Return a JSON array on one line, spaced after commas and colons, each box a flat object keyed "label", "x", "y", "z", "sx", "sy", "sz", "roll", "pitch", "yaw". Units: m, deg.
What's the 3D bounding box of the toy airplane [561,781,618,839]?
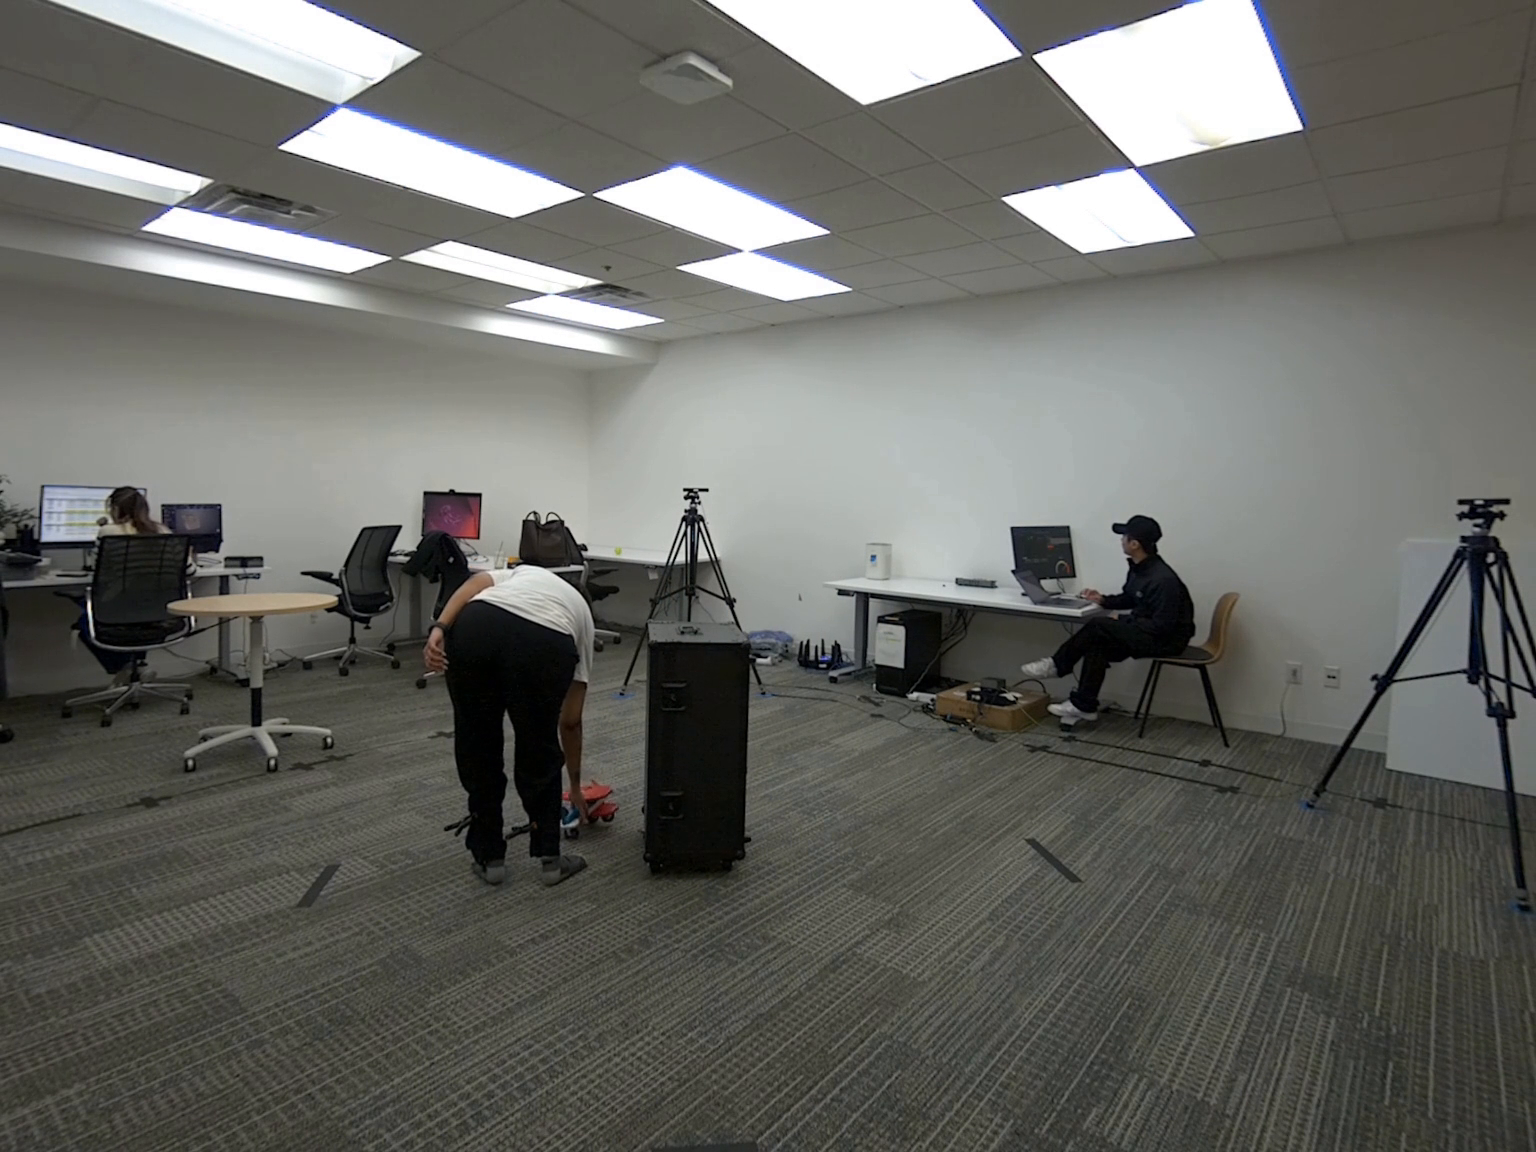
[{"label": "toy airplane", "x": -0.740, "y": 0.950, "z": 3.444, "sx": 0.252, "sy": 0.157, "sz": 0.257, "roll": -11, "pitch": -1, "yaw": 4}]
